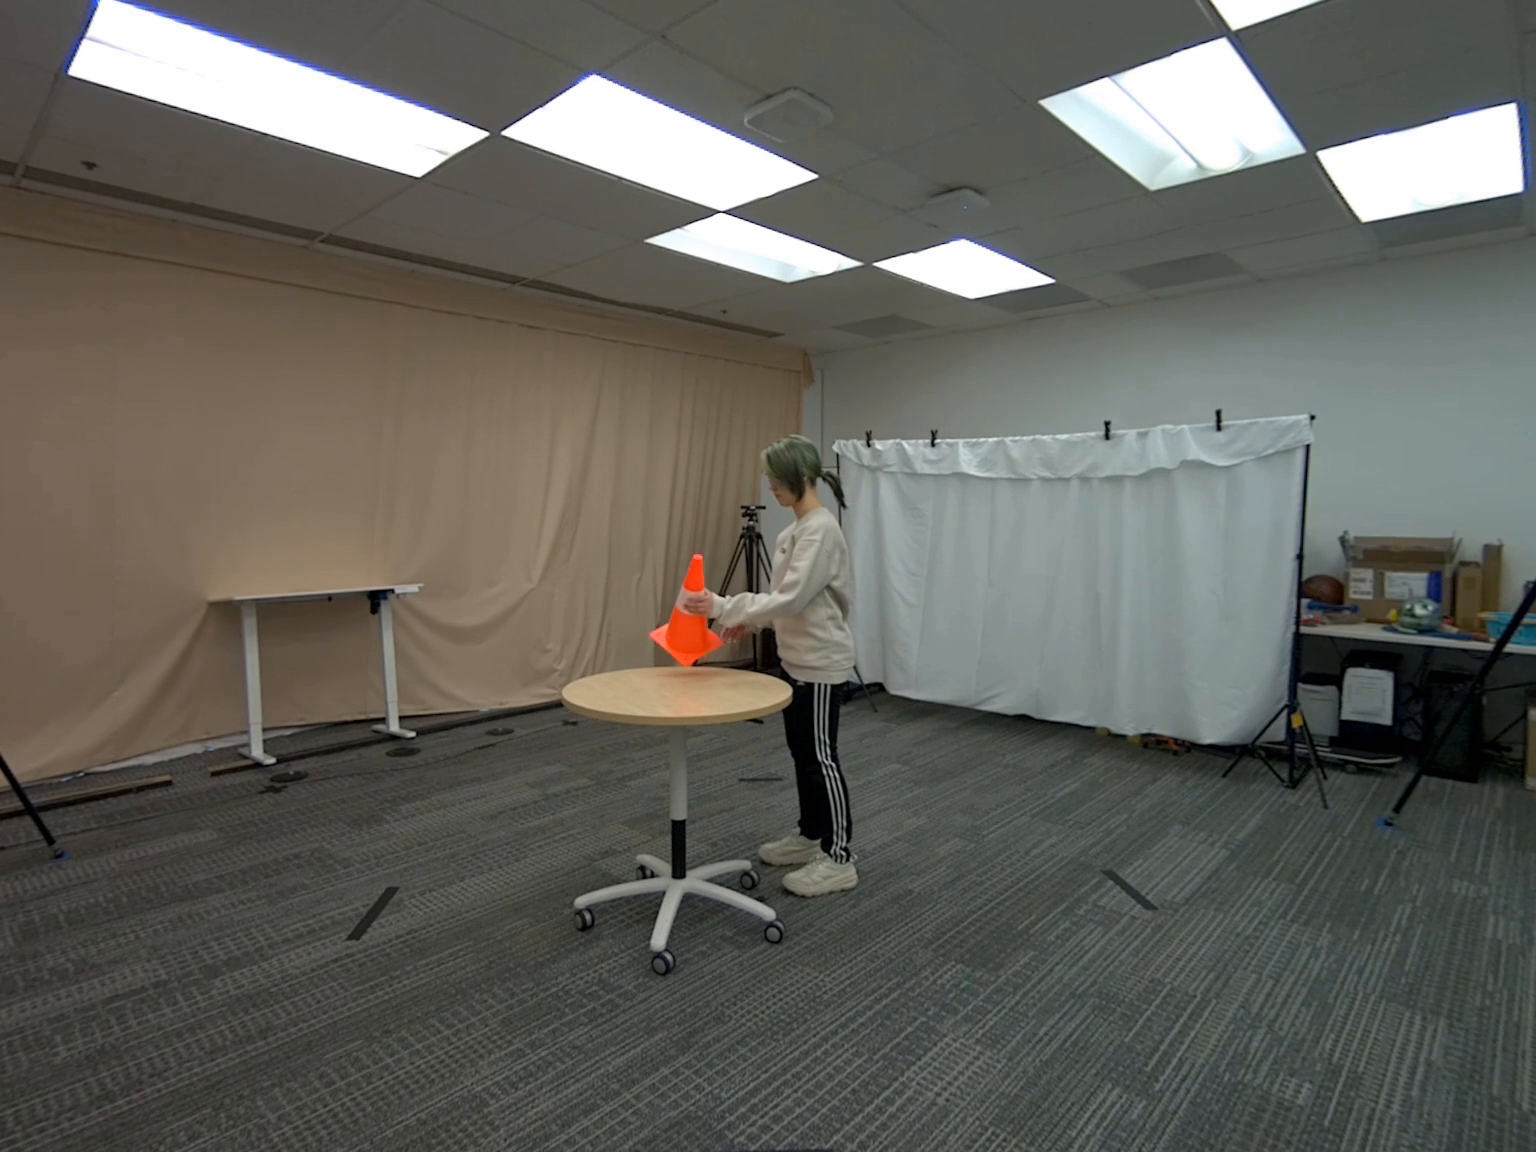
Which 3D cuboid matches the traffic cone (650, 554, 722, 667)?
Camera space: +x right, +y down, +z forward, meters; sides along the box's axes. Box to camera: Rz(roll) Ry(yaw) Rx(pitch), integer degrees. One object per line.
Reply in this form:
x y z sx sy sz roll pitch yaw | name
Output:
-0.260 0.090 2.937 0.212 0.379 0.199 34 41 30 | traffic cone
